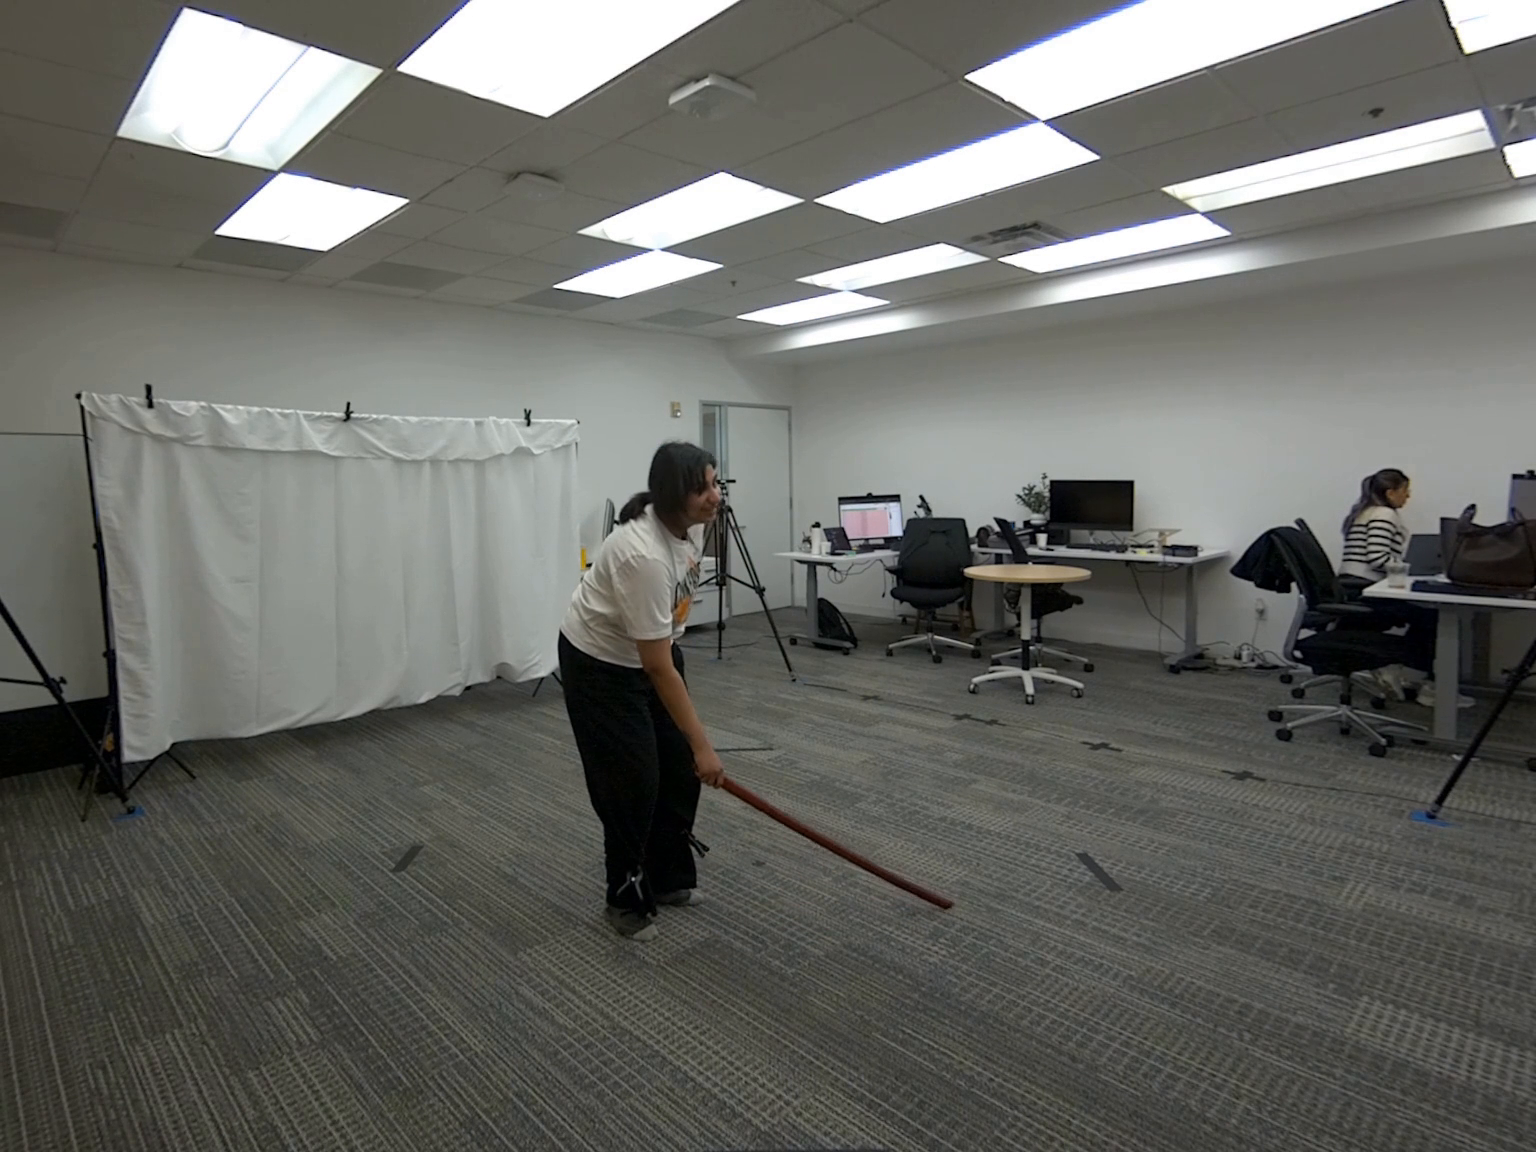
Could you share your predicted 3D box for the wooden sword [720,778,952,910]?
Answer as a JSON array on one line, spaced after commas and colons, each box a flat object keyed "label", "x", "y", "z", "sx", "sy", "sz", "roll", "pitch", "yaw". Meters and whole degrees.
[{"label": "wooden sword", "x": 0.183, "y": 0.809, "z": 2.651, "sx": 1.005, "sy": 0.051, "sz": 0.024, "roll": 32, "pitch": -19, "yaw": -15}]
